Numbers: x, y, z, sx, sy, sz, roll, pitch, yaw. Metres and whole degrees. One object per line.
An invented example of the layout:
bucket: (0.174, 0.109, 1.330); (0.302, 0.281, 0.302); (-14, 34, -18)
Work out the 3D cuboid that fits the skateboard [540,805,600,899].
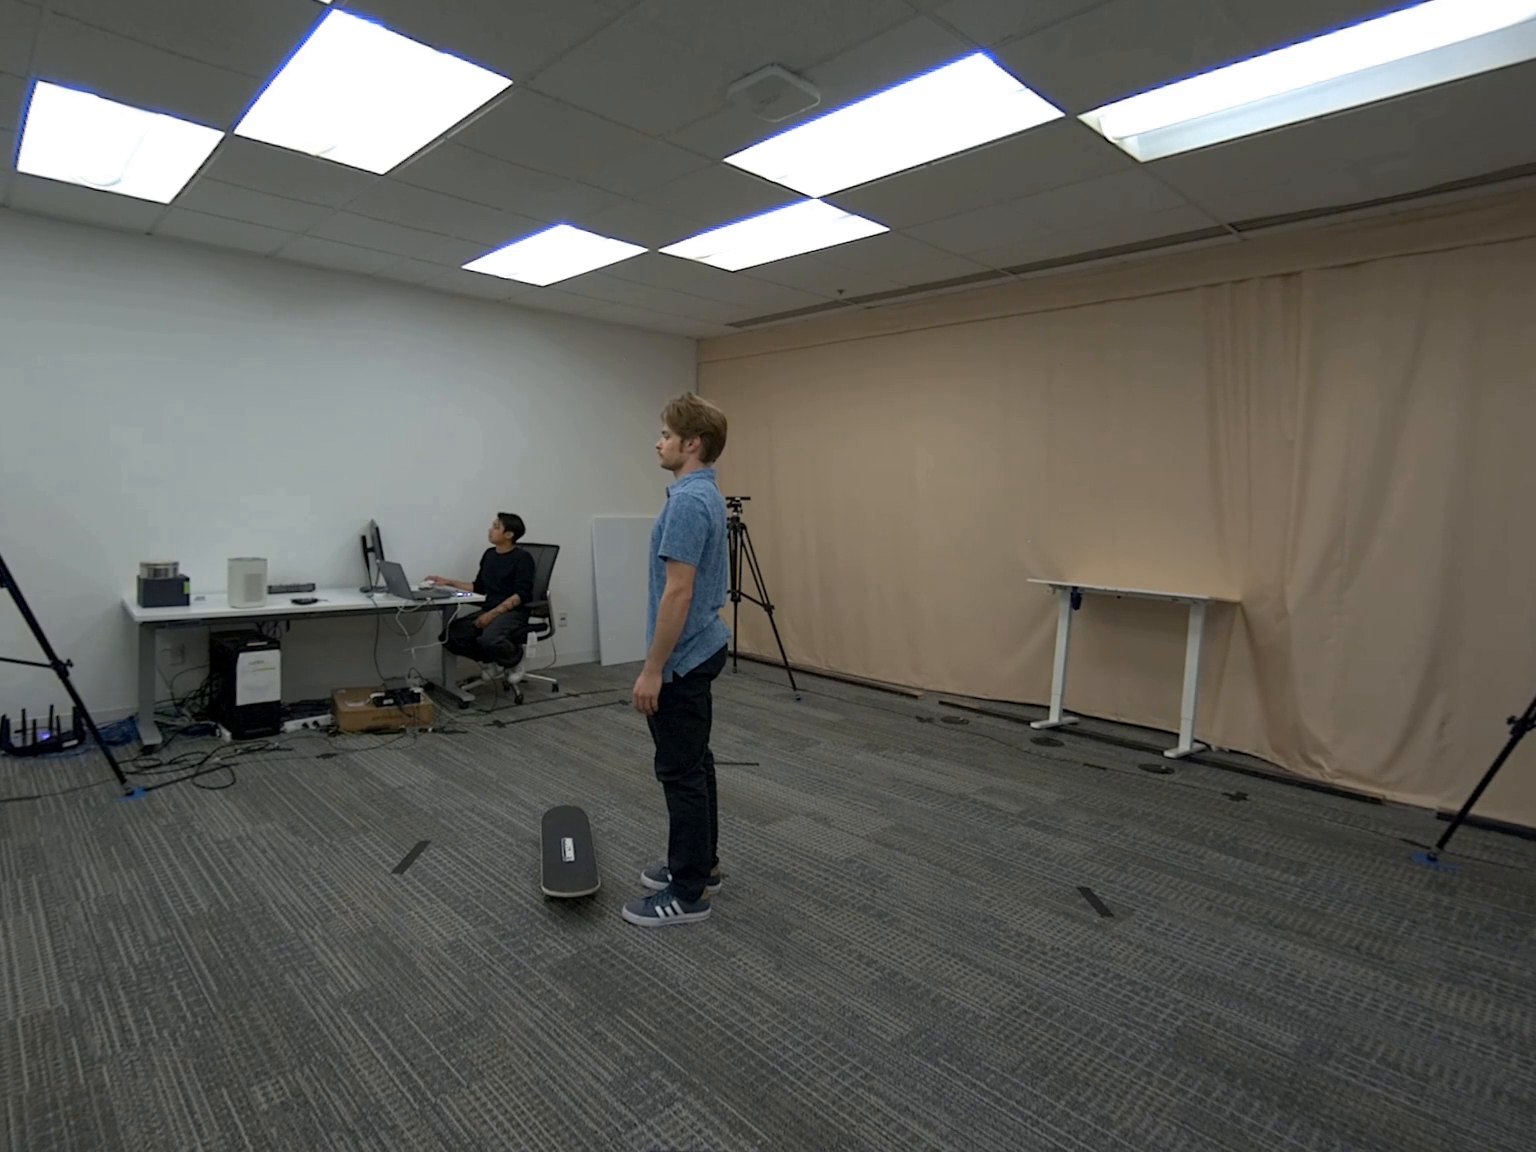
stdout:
skateboard: (-0.752, 1.045, 3.099); (0.191, 0.110, 0.796); (0, 6, -14)
